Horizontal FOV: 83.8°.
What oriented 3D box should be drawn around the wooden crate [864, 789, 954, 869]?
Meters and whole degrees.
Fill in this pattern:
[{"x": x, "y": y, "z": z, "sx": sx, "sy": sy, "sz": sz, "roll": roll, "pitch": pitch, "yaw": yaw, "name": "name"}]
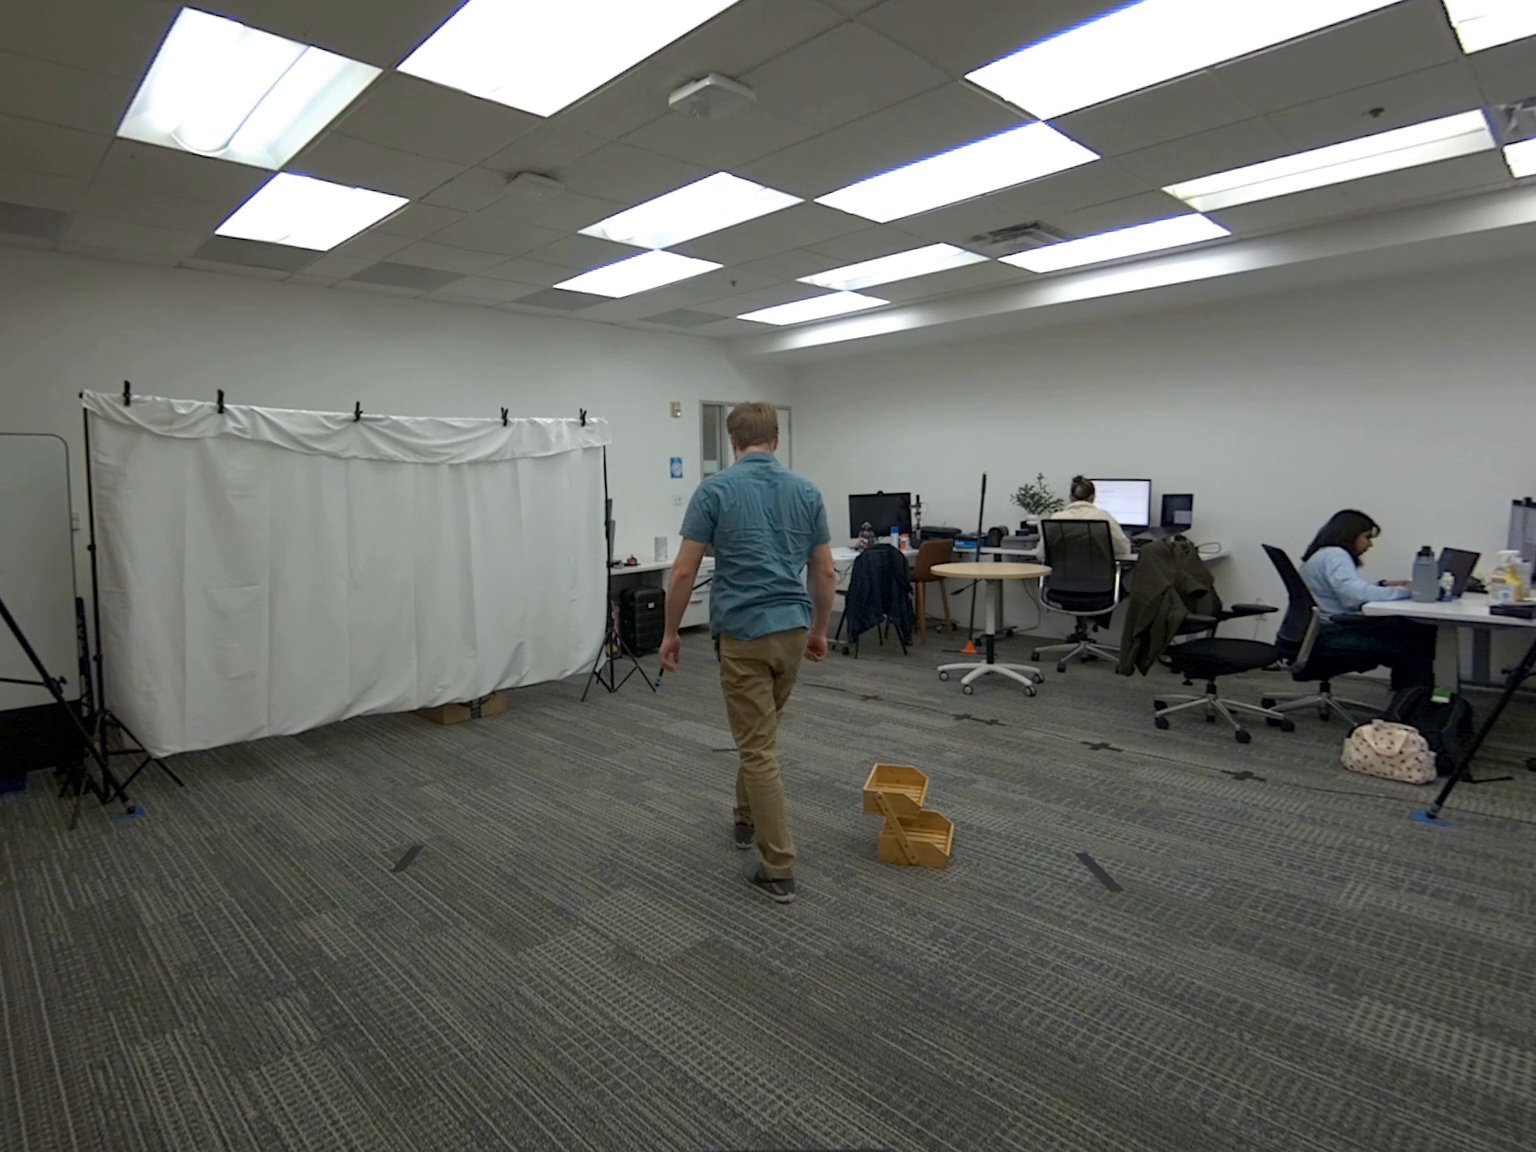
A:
[{"x": 0.541, "y": 0.891, "z": 3.222, "sx": 0.307, "sy": 0.272, "sz": 0.320, "roll": 0, "pitch": 5, "yaw": 17, "name": "wooden crate"}]
